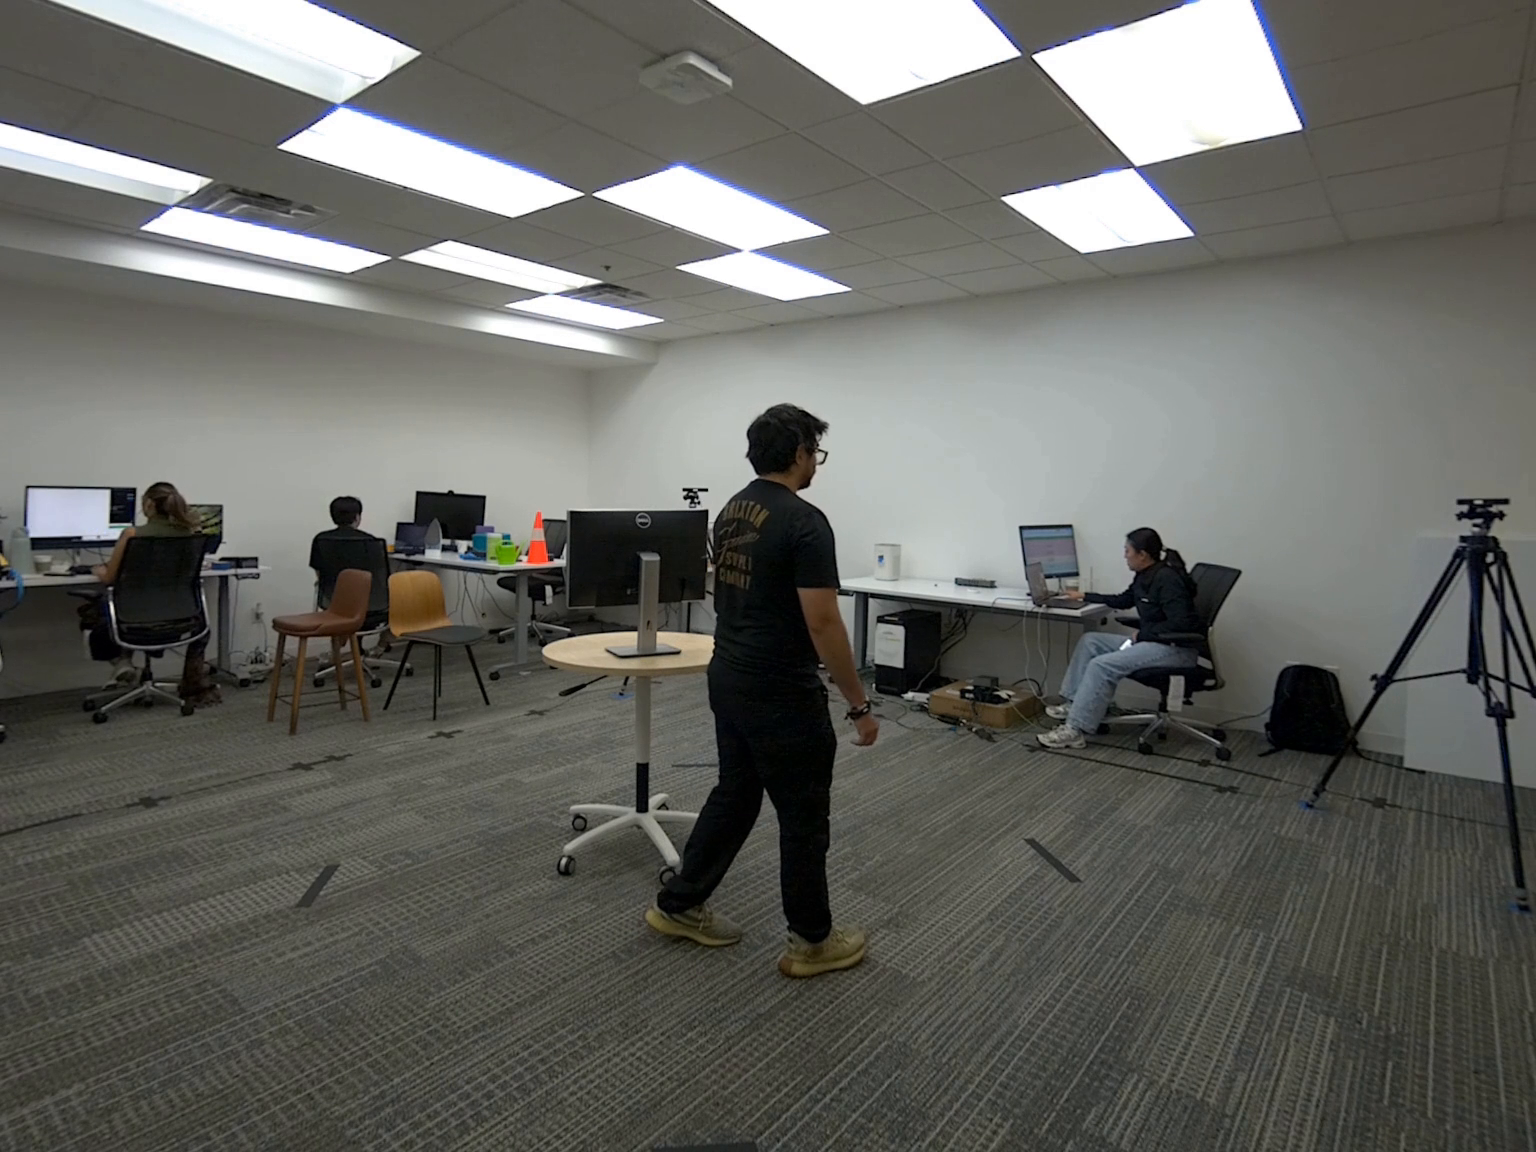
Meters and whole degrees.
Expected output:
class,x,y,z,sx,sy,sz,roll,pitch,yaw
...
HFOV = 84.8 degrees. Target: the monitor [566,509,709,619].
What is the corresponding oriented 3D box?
class,x,y,z,sx,sy,sz,roll,pitch,yaw
monitor,-0.469,0.021,3.154,0.552,0.551,0.216,-1,6,-26
